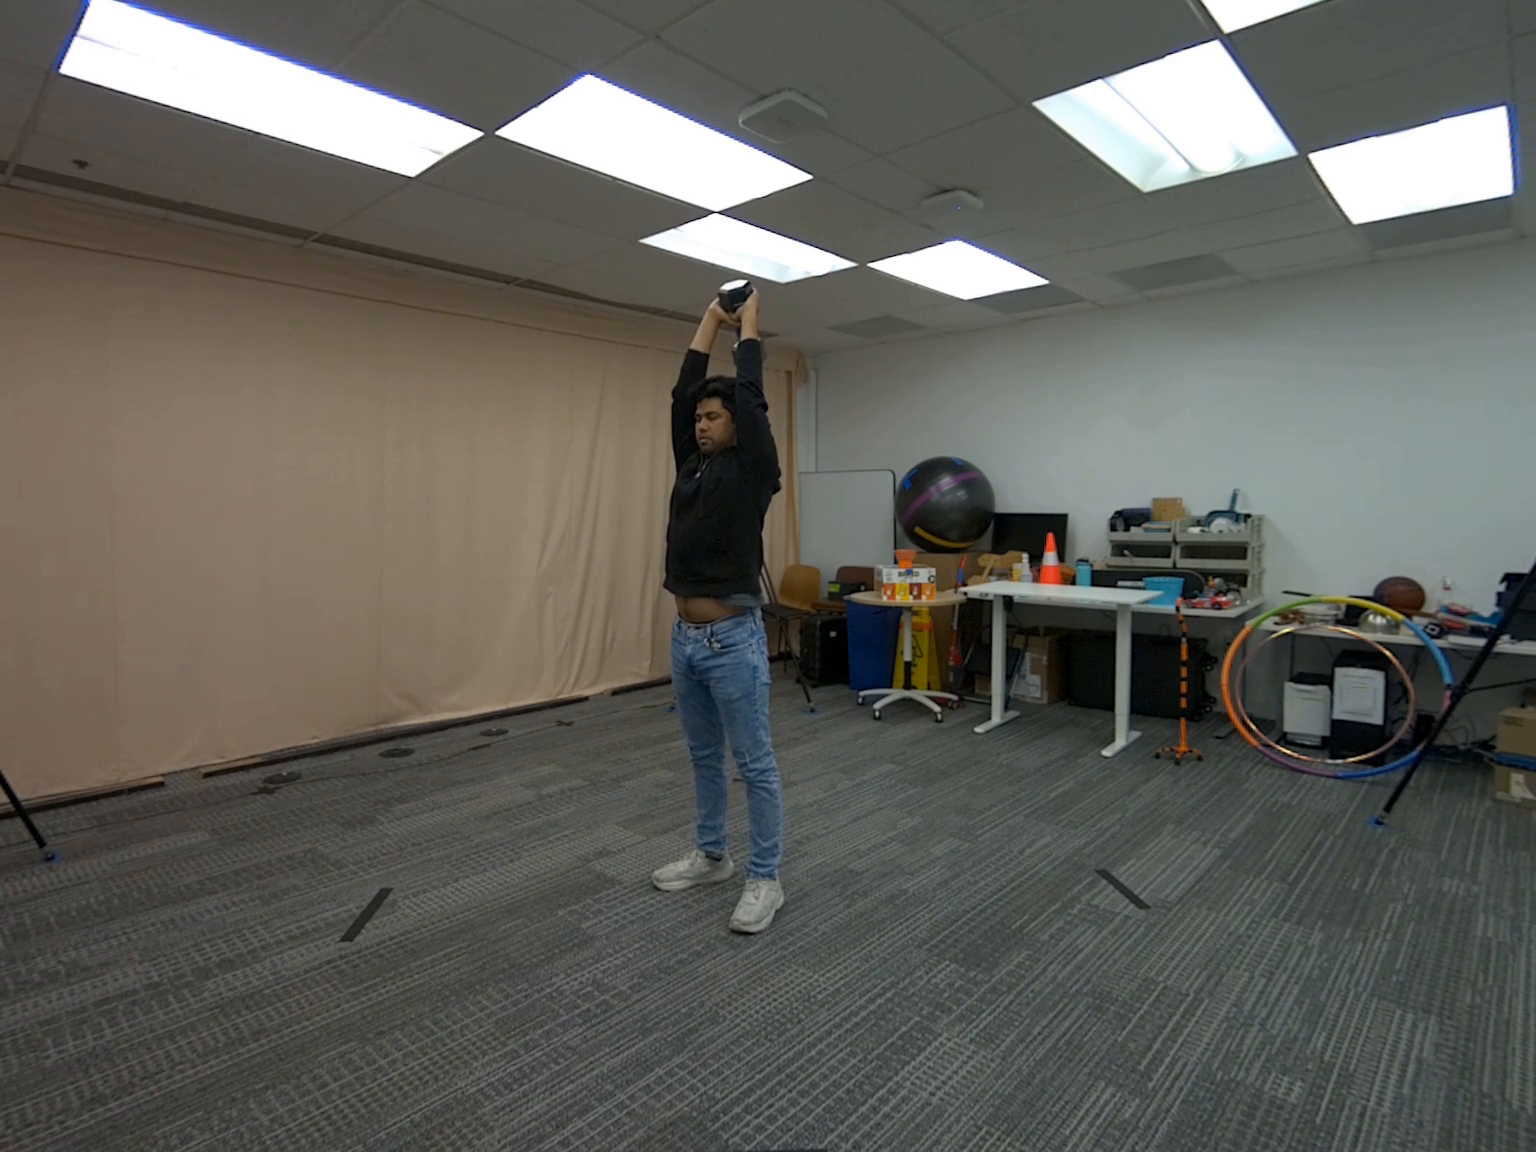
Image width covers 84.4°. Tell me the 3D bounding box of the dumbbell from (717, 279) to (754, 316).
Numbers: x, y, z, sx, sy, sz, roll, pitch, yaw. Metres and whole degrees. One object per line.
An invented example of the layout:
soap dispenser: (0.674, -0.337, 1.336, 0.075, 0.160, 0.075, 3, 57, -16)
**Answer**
dumbbell: (-0.080, -0.877, 2.983, 0.107, 0.287, 0.127, -30, 36, -24)
